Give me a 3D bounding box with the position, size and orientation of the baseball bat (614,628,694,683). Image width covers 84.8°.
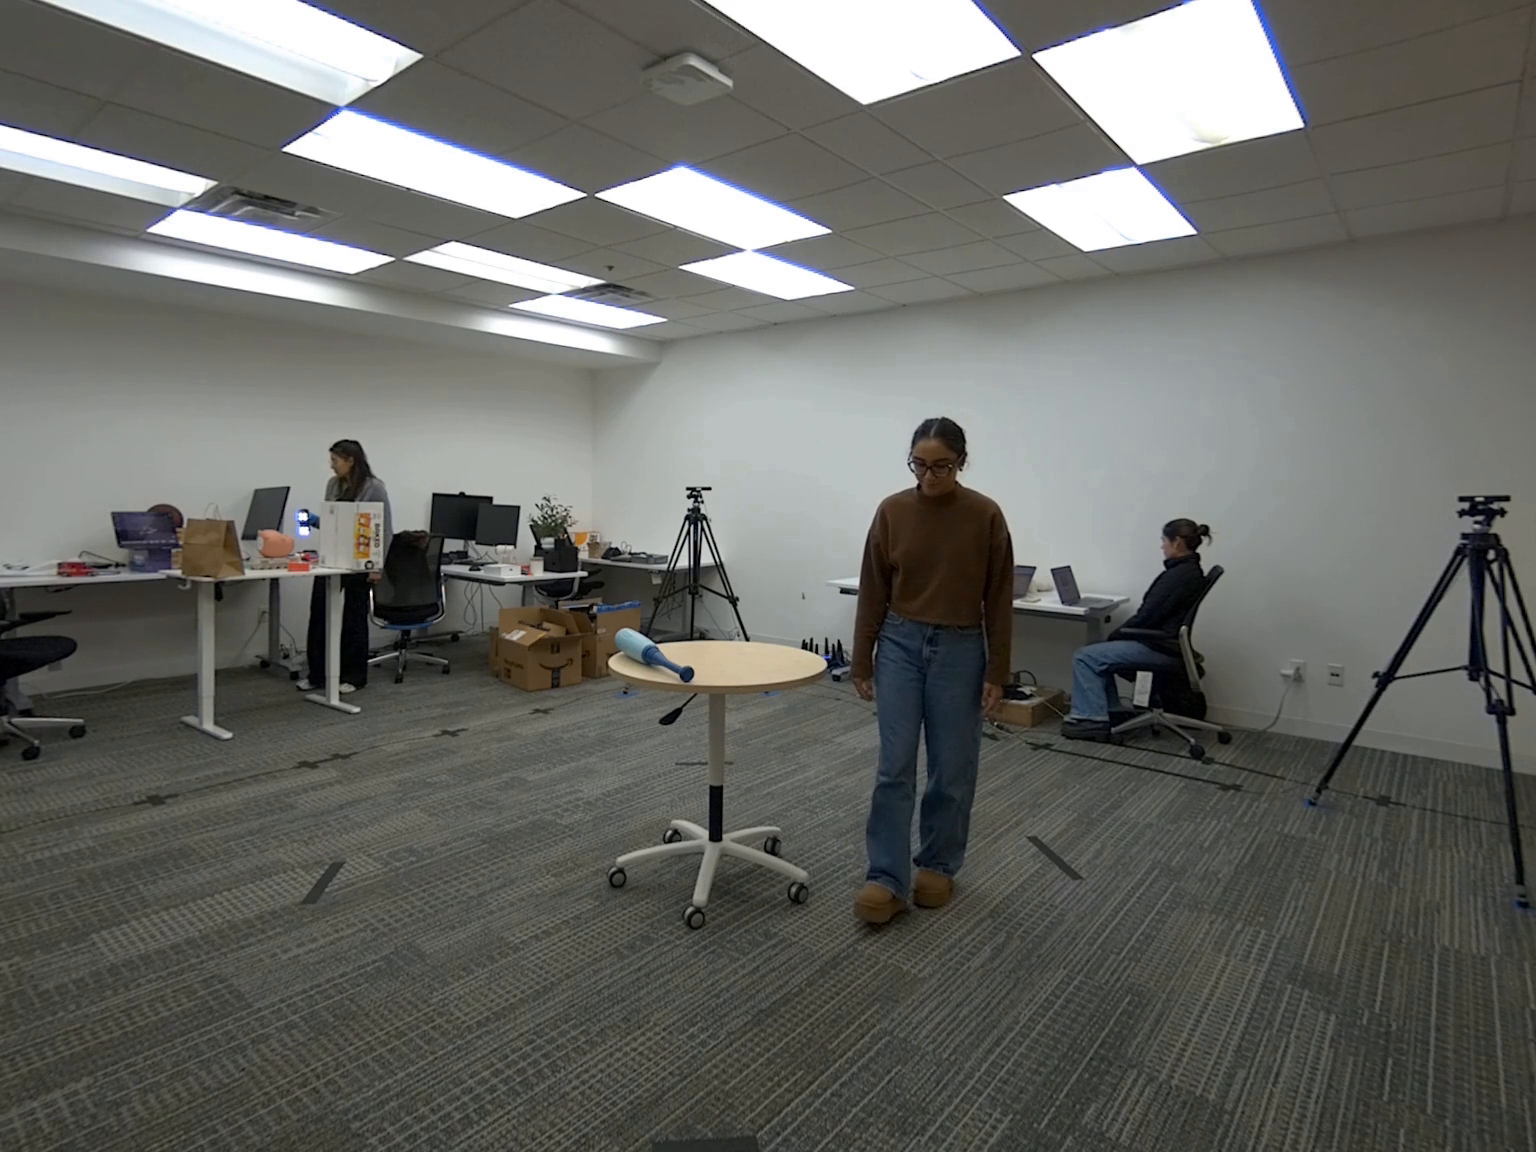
[{"bbox_3d":[-0.395,0.273,2.874,0.086,0.088,0.561,-2,9,-31],"label":"baseball bat"}]
